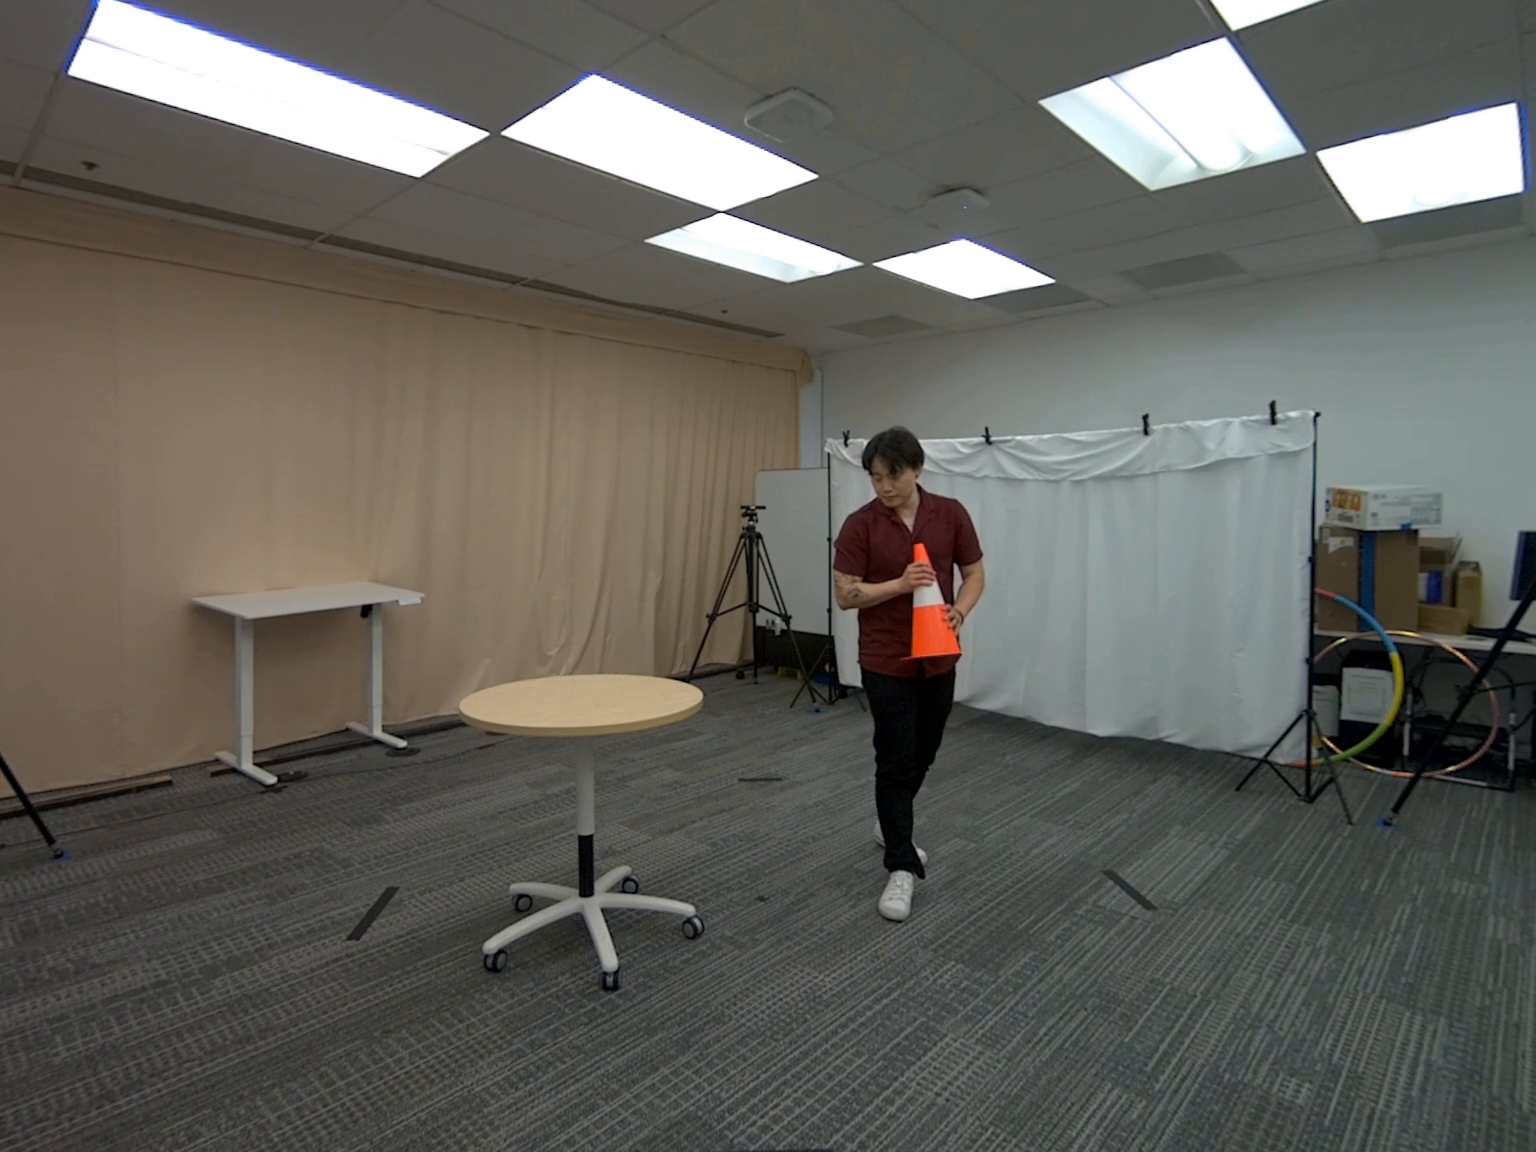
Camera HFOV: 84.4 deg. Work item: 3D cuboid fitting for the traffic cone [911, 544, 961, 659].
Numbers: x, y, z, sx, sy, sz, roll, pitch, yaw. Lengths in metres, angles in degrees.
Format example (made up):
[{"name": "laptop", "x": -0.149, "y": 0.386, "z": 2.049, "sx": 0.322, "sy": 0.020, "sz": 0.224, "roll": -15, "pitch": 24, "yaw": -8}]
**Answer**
[{"name": "traffic cone", "x": 0.548, "y": 0.078, "z": 2.872, "sx": 0.204, "sy": 0.386, "sz": 0.203, "roll": -6, "pitch": -8, "yaw": -4}]
